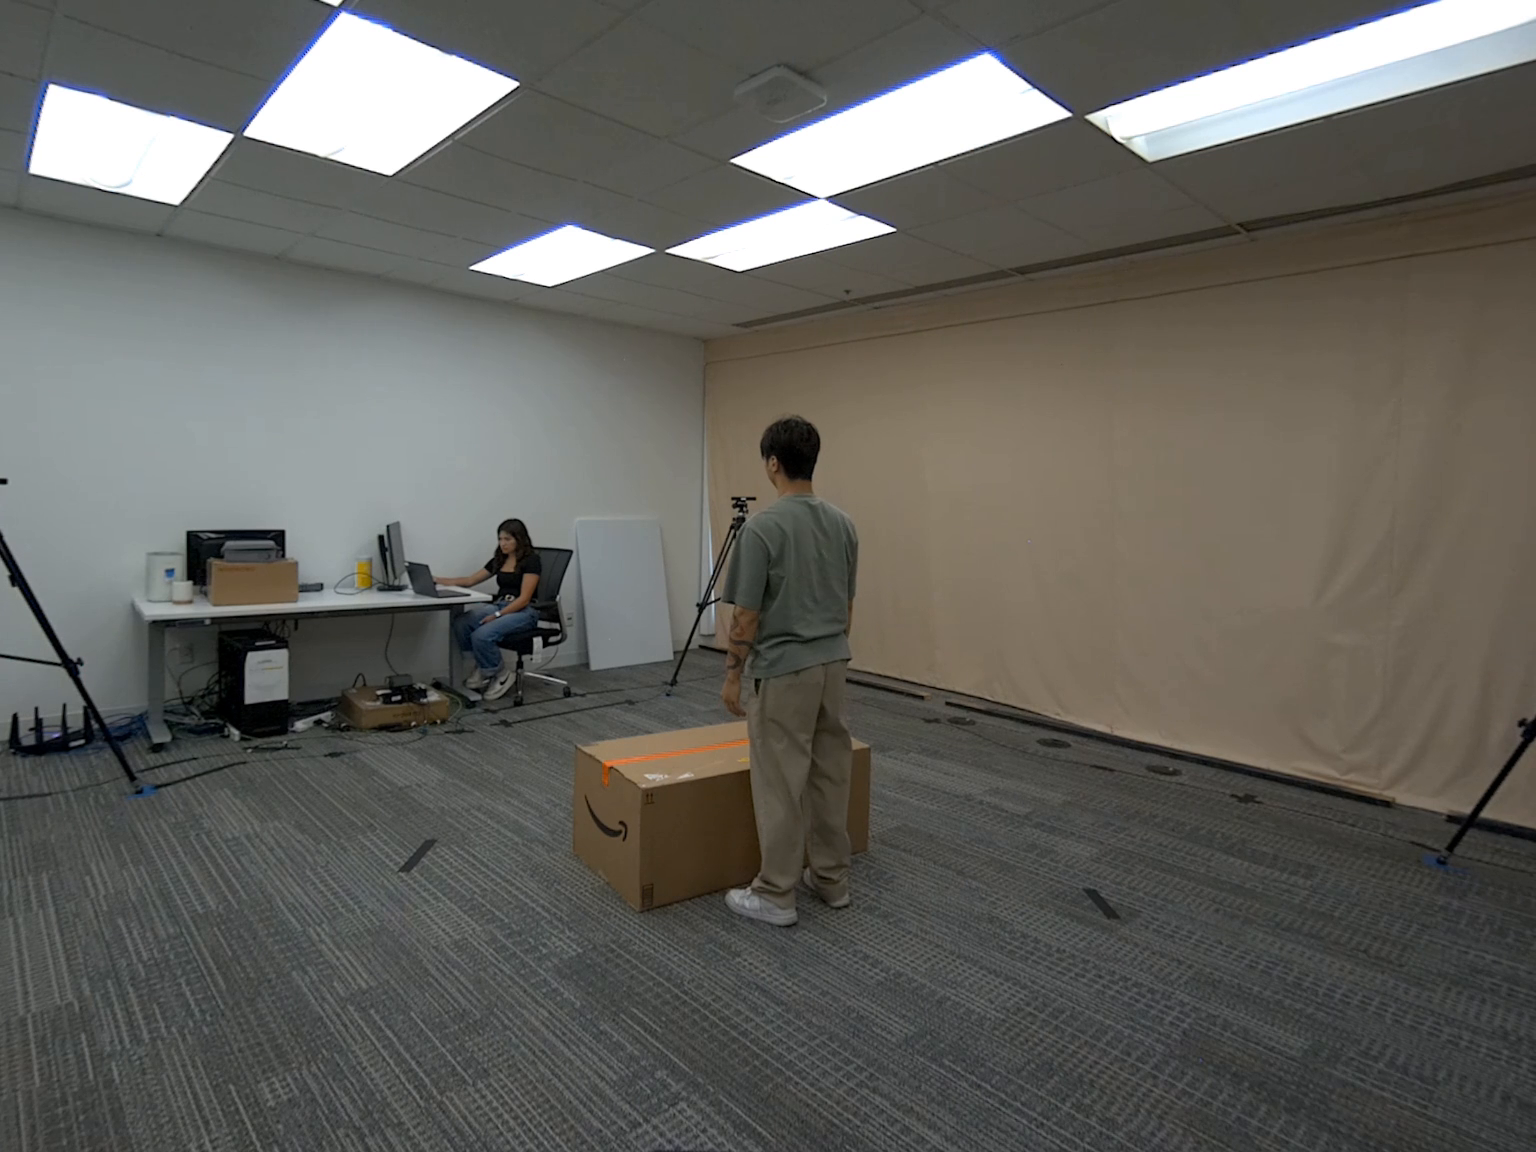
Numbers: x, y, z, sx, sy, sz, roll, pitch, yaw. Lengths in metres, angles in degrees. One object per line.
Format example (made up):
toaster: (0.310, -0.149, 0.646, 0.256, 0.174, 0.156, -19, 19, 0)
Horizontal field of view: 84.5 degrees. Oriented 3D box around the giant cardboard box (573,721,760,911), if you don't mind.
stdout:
giant cardboard box: (-0.182, 0.872, 3.315, 1.004, 0.425, 0.592, -2, 6, -34)
